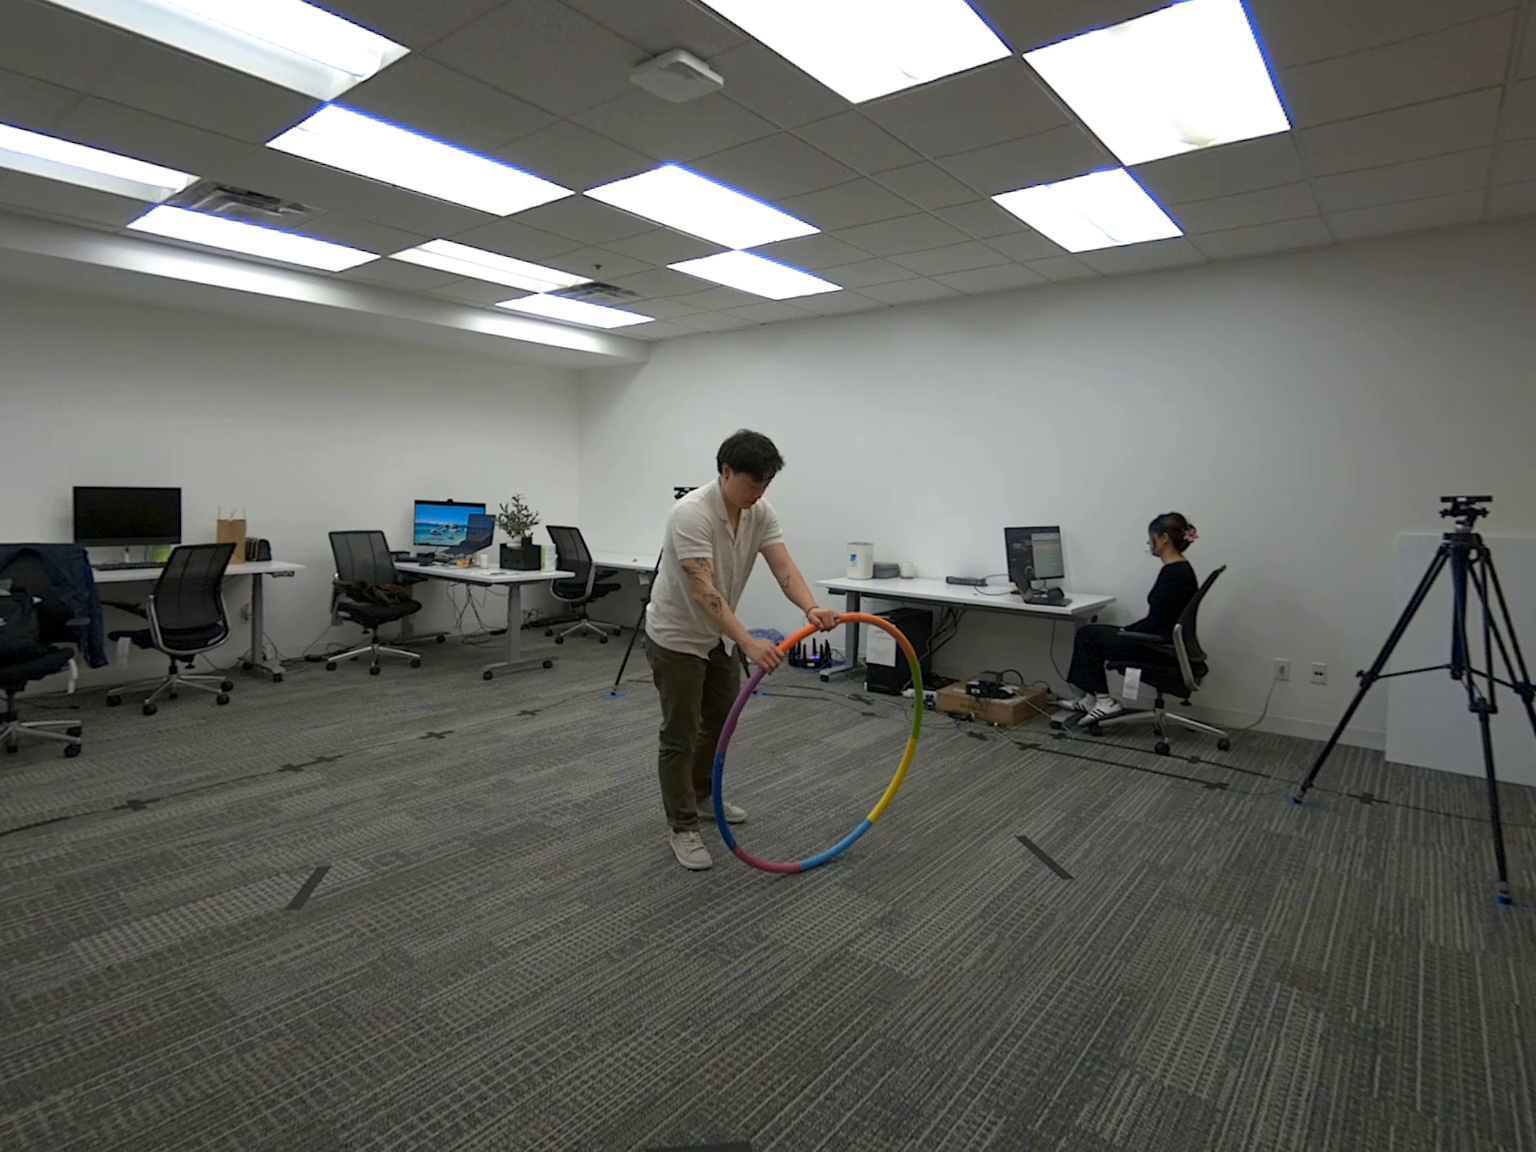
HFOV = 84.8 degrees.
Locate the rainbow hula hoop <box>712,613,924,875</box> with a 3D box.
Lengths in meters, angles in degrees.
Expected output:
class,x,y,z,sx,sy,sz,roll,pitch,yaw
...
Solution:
class,x,y,z,sx,sy,sz,roll,pitch,yaw
rainbow hula hoop,0.196,0.597,3.053,0.950,0.970,0.037,-2,14,-37
